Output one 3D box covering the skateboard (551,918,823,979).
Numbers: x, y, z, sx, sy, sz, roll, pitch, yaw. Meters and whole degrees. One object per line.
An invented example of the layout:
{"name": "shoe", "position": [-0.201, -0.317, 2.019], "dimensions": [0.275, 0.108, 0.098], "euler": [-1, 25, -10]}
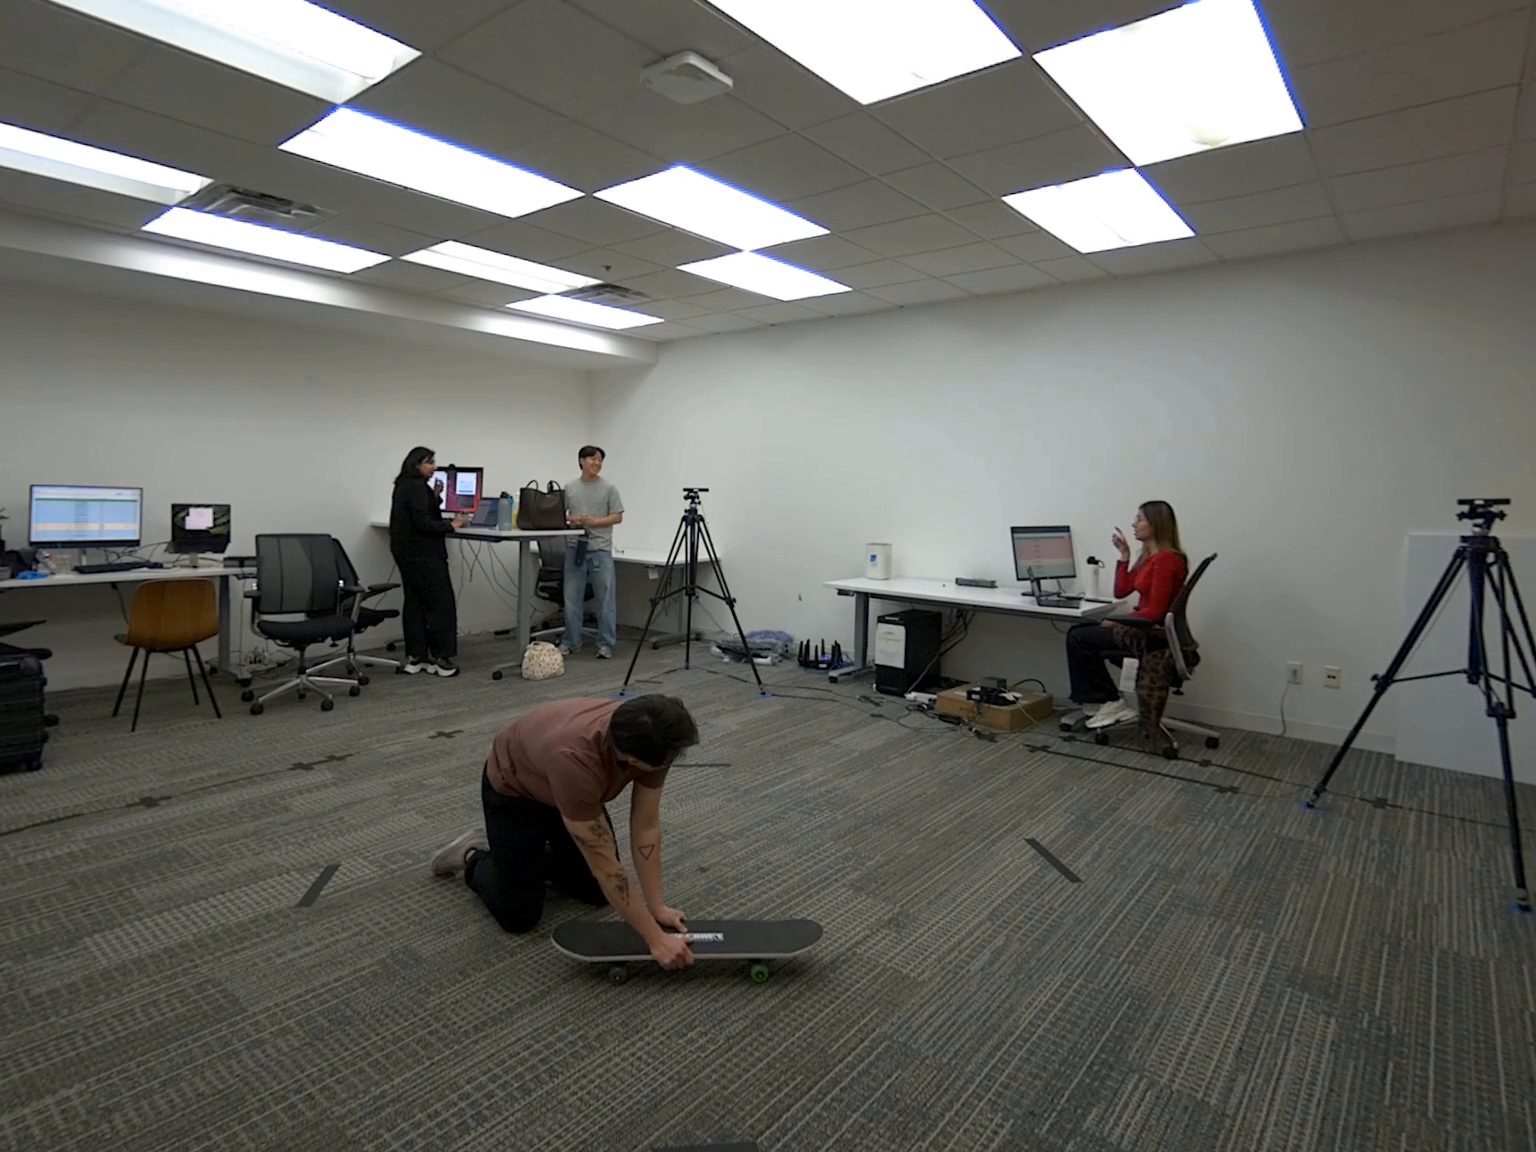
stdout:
{"name": "skateboard", "position": [-0.240, 1.078, 2.459], "dimensions": [0.783, 0.110, 0.195], "euler": [0, 5, -3]}
